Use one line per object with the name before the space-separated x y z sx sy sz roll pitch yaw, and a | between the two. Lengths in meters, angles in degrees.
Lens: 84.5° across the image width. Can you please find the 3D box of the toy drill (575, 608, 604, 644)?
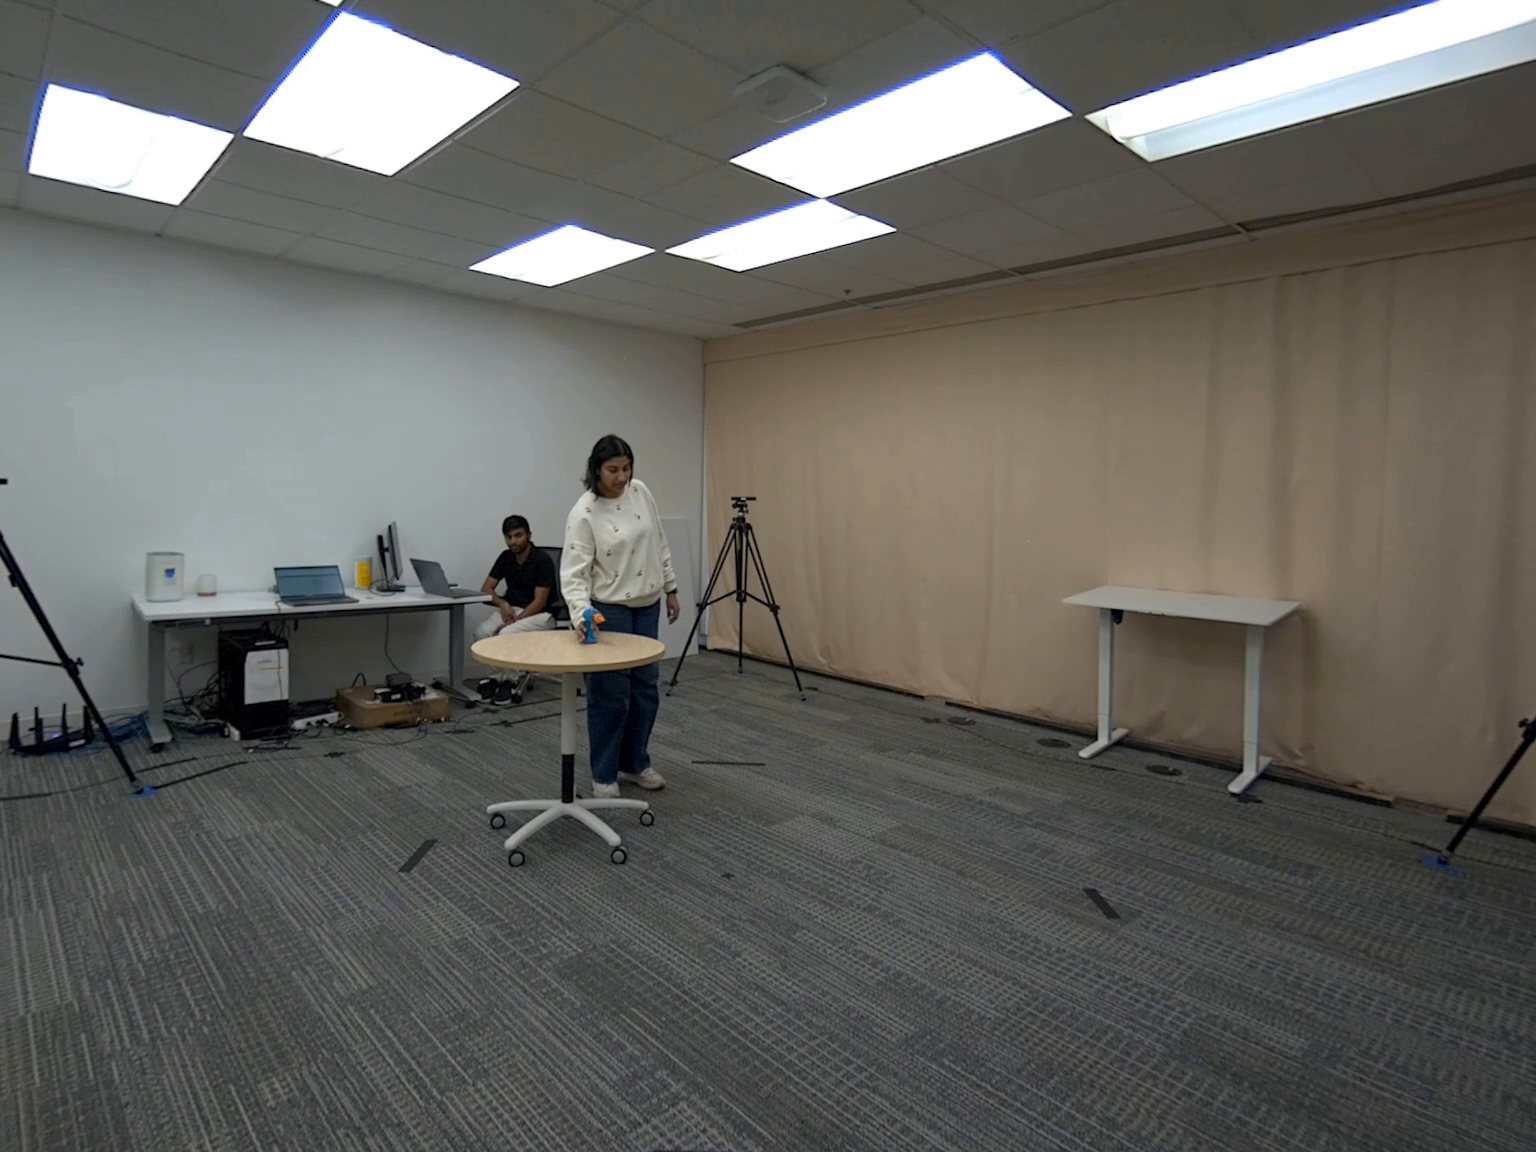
toy drill | -0.728 0.208 3.455 0.060 0.146 0.174 -1 5 -38
